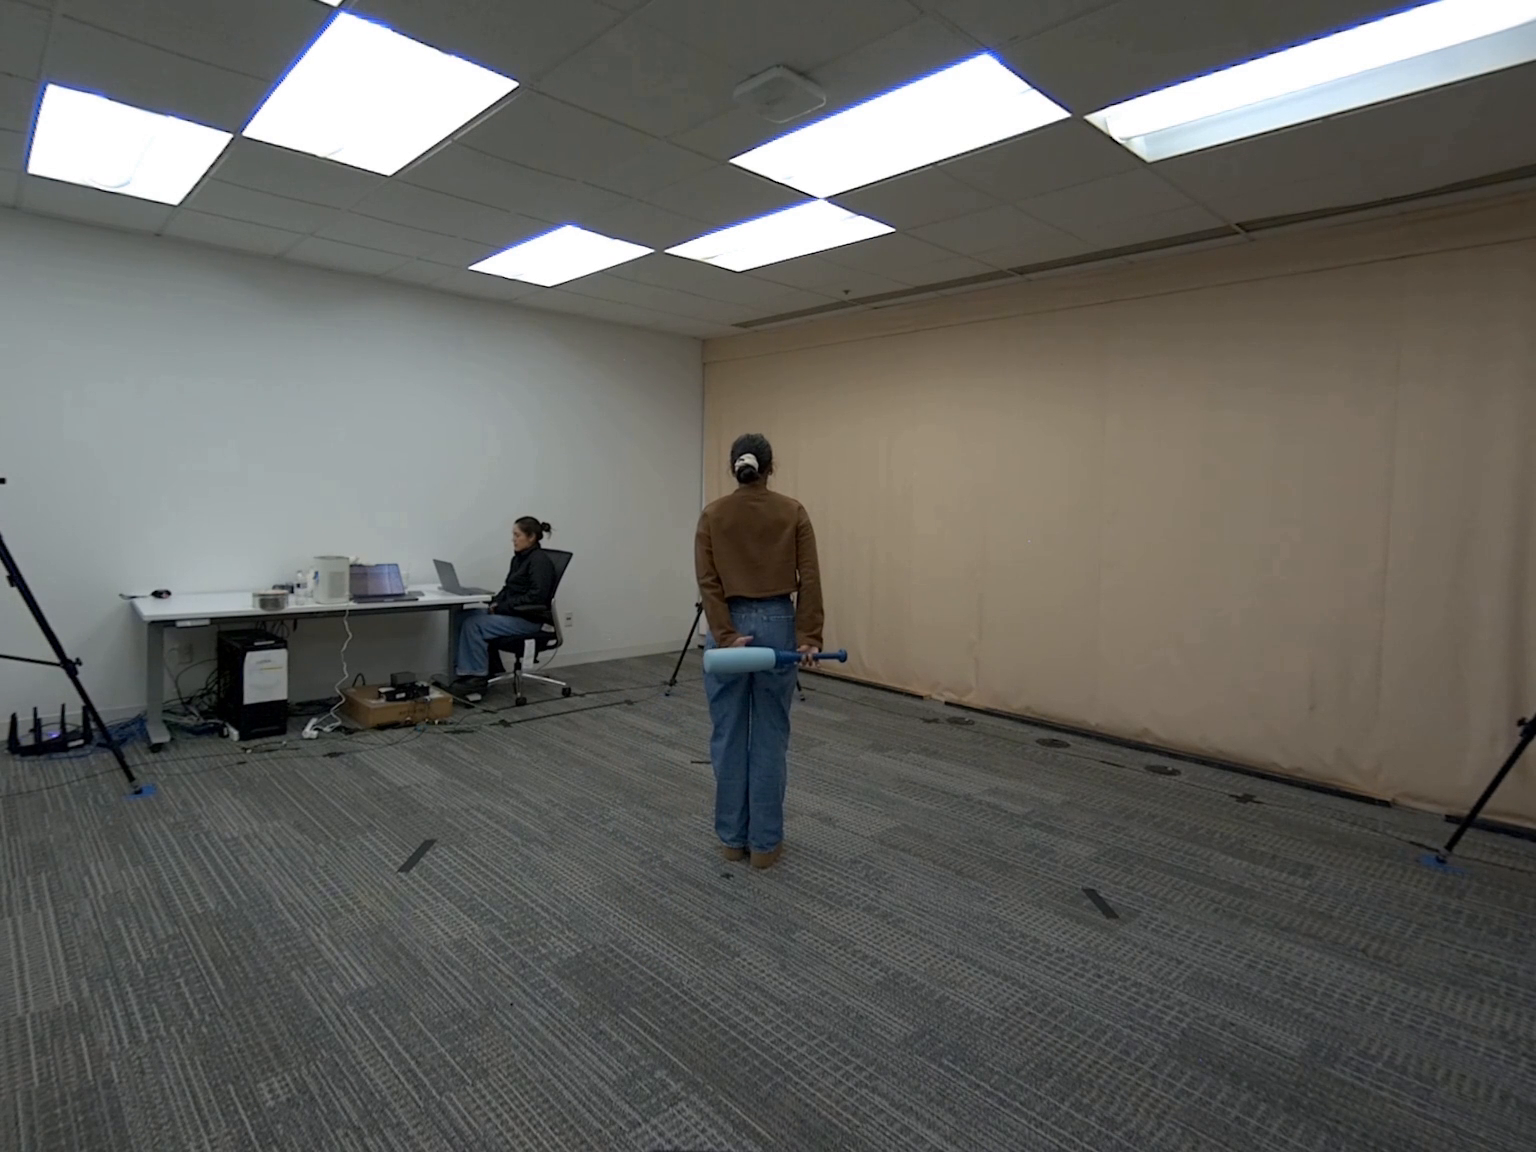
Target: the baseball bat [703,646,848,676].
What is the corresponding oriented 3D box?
[{"bbox_3d":[0.031,0.297,3.022,0.536,0.089,0.090,-1,5,-16],"label":"baseball bat"}]
